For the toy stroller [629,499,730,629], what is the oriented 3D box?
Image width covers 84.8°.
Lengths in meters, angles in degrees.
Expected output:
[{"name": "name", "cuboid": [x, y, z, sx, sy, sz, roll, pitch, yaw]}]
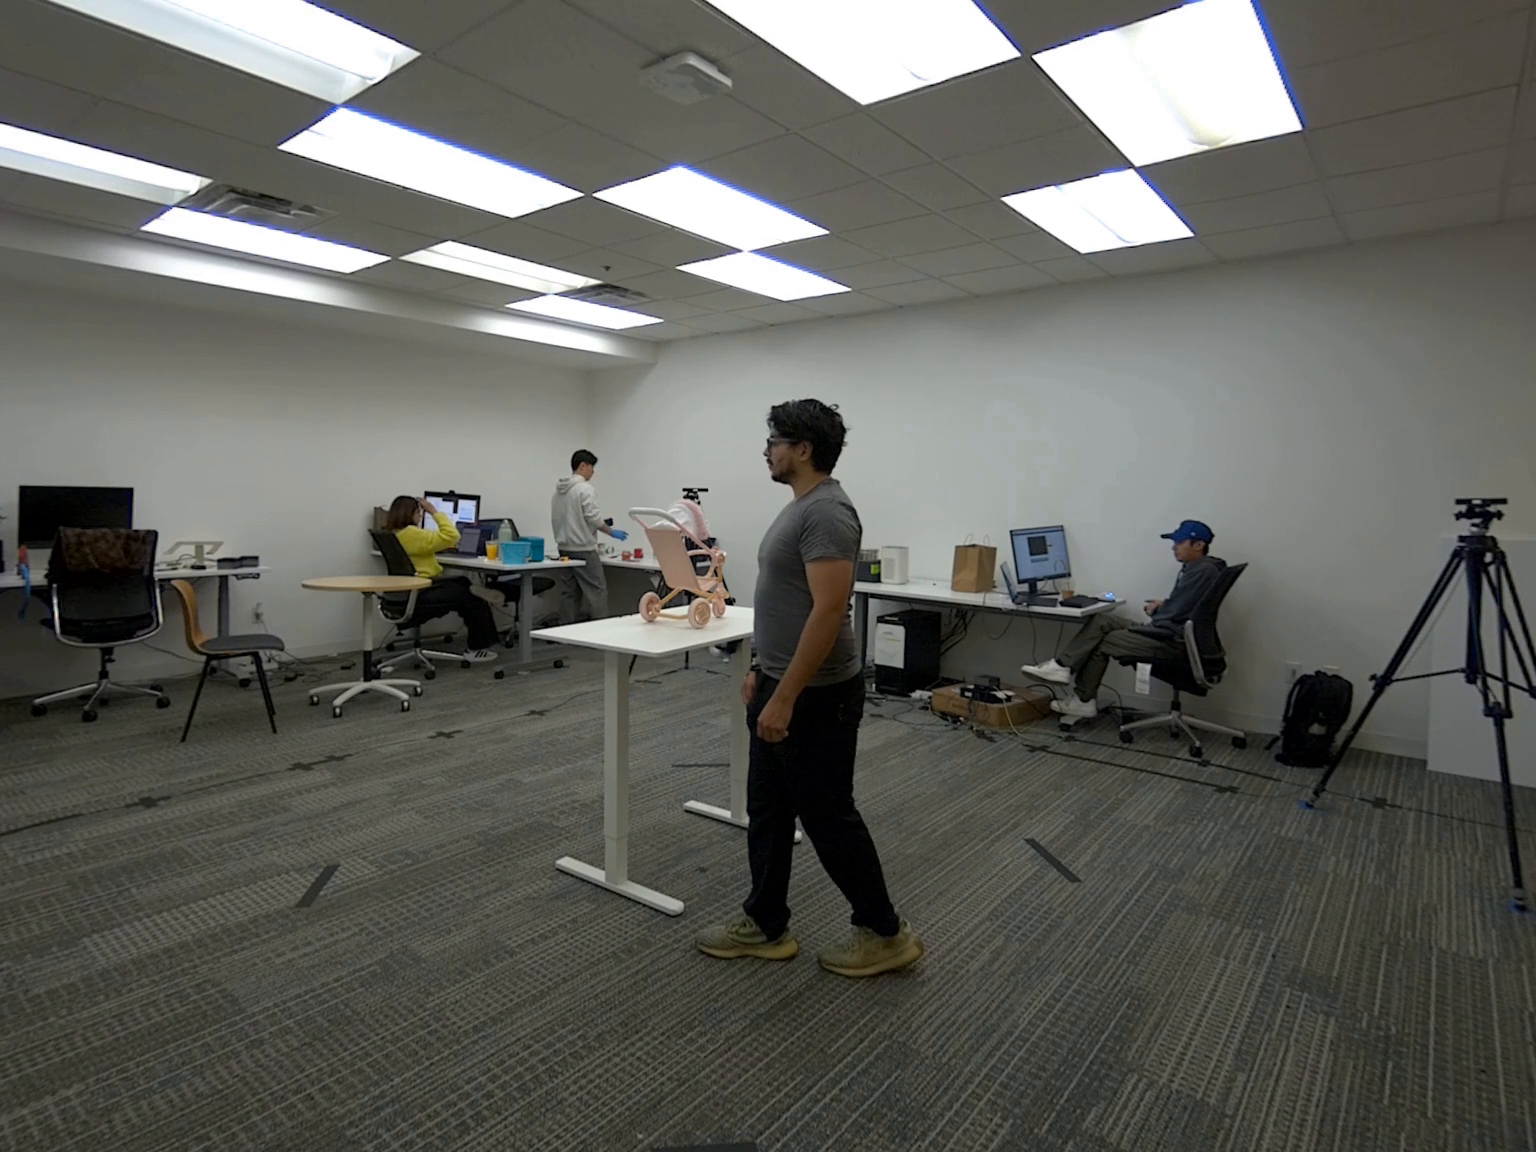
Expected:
[{"name": "toy stroller", "cuboid": [-0.316, -0.049, 3.197, 0.291, 0.526, 0.335, 4, 20, 42]}]
